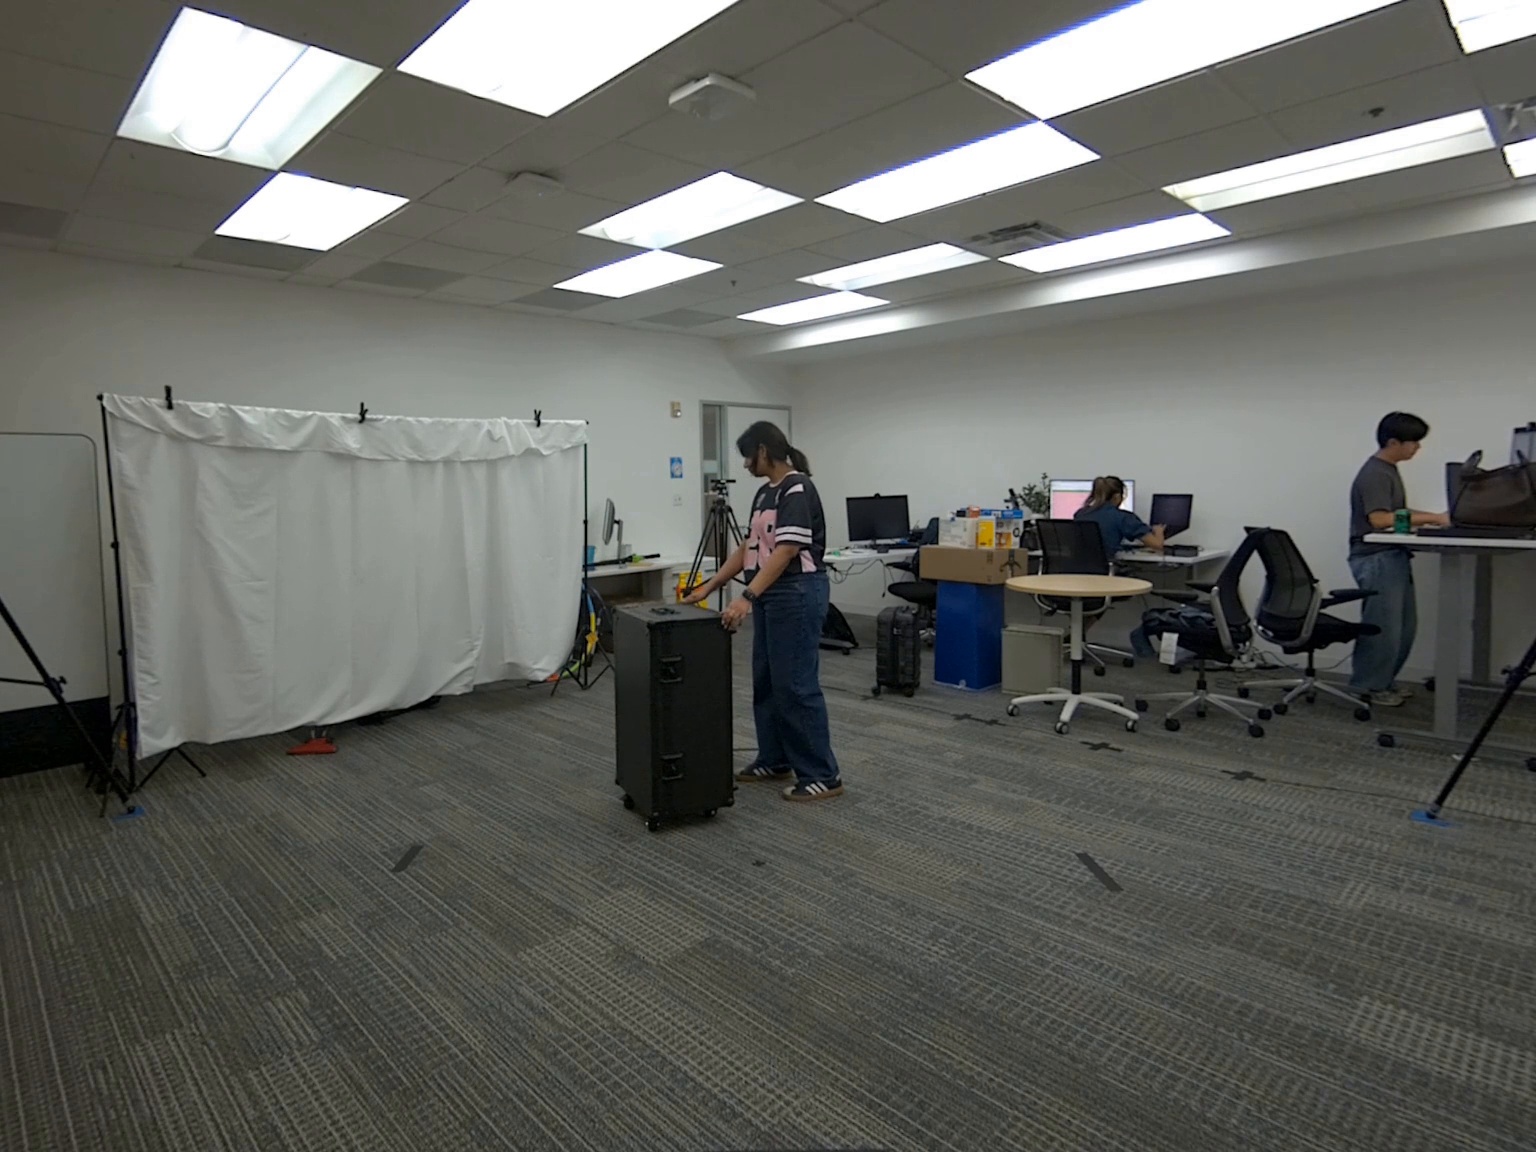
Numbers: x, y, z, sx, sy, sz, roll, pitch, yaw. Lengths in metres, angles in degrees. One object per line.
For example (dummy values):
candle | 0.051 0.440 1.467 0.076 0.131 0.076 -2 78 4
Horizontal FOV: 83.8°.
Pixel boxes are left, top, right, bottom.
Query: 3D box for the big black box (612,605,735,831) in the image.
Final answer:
big black box | -0.409 0.575 3.618 0.377 0.866 0.537 -2 4 -27
